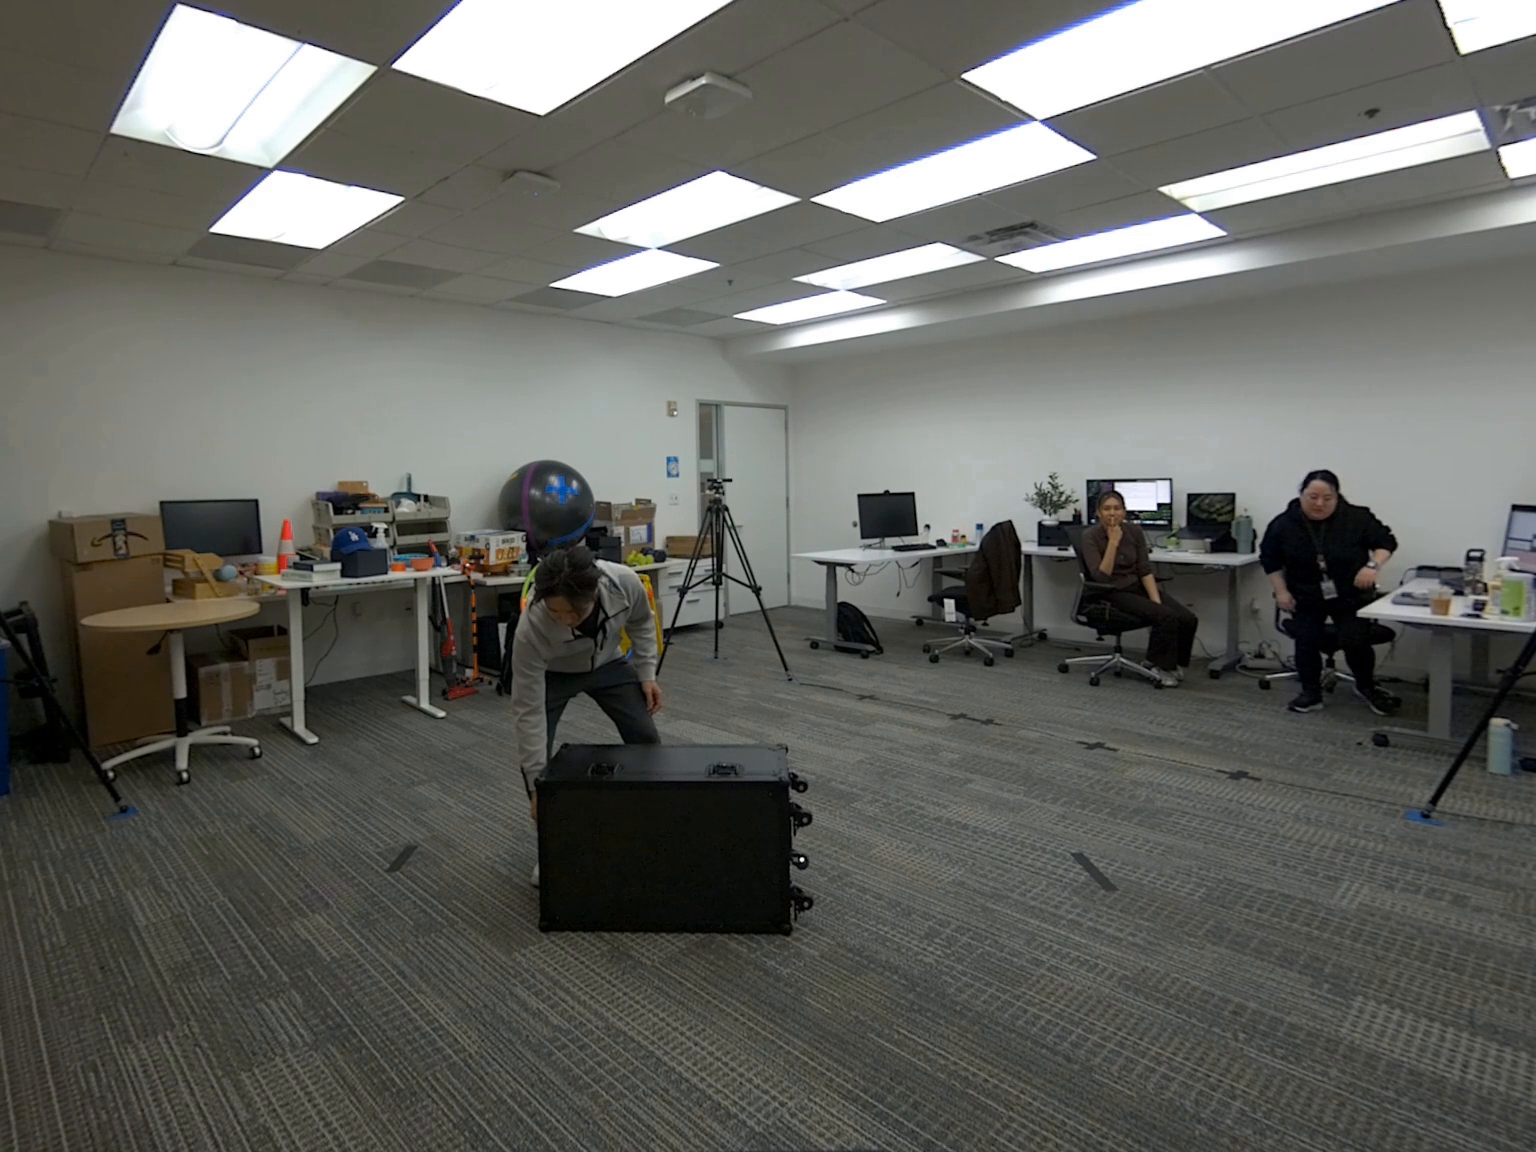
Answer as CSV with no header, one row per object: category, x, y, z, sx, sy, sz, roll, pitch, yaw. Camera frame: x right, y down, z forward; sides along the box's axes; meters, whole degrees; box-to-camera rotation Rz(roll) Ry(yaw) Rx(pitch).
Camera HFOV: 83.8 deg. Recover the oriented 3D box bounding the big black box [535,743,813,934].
big black box,-0.286,0.840,2.794,0.865,0.519,0.397,-1,5,3
